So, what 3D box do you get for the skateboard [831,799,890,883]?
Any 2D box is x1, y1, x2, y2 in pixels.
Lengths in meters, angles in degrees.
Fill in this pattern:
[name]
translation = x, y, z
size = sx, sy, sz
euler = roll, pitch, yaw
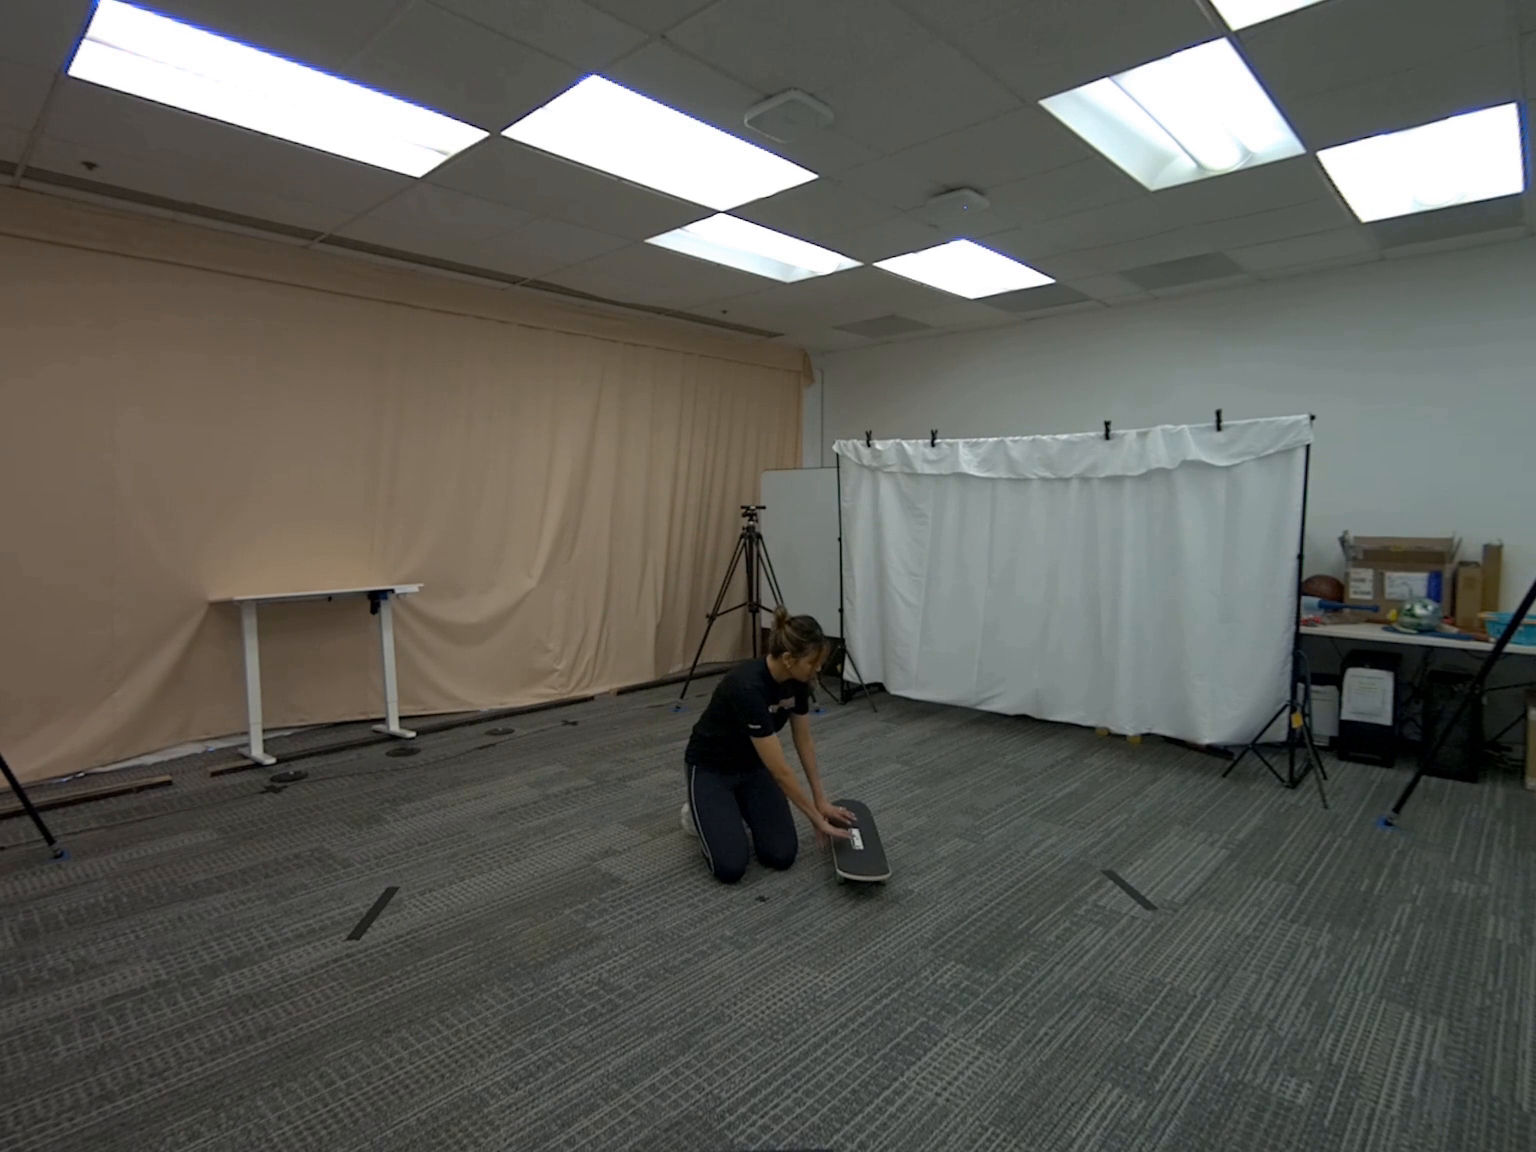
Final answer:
[skateboard]
translation = 0.343, 1.052, 3.293
size = 0.194, 0.110, 0.786
euler = -1, 5, 0
